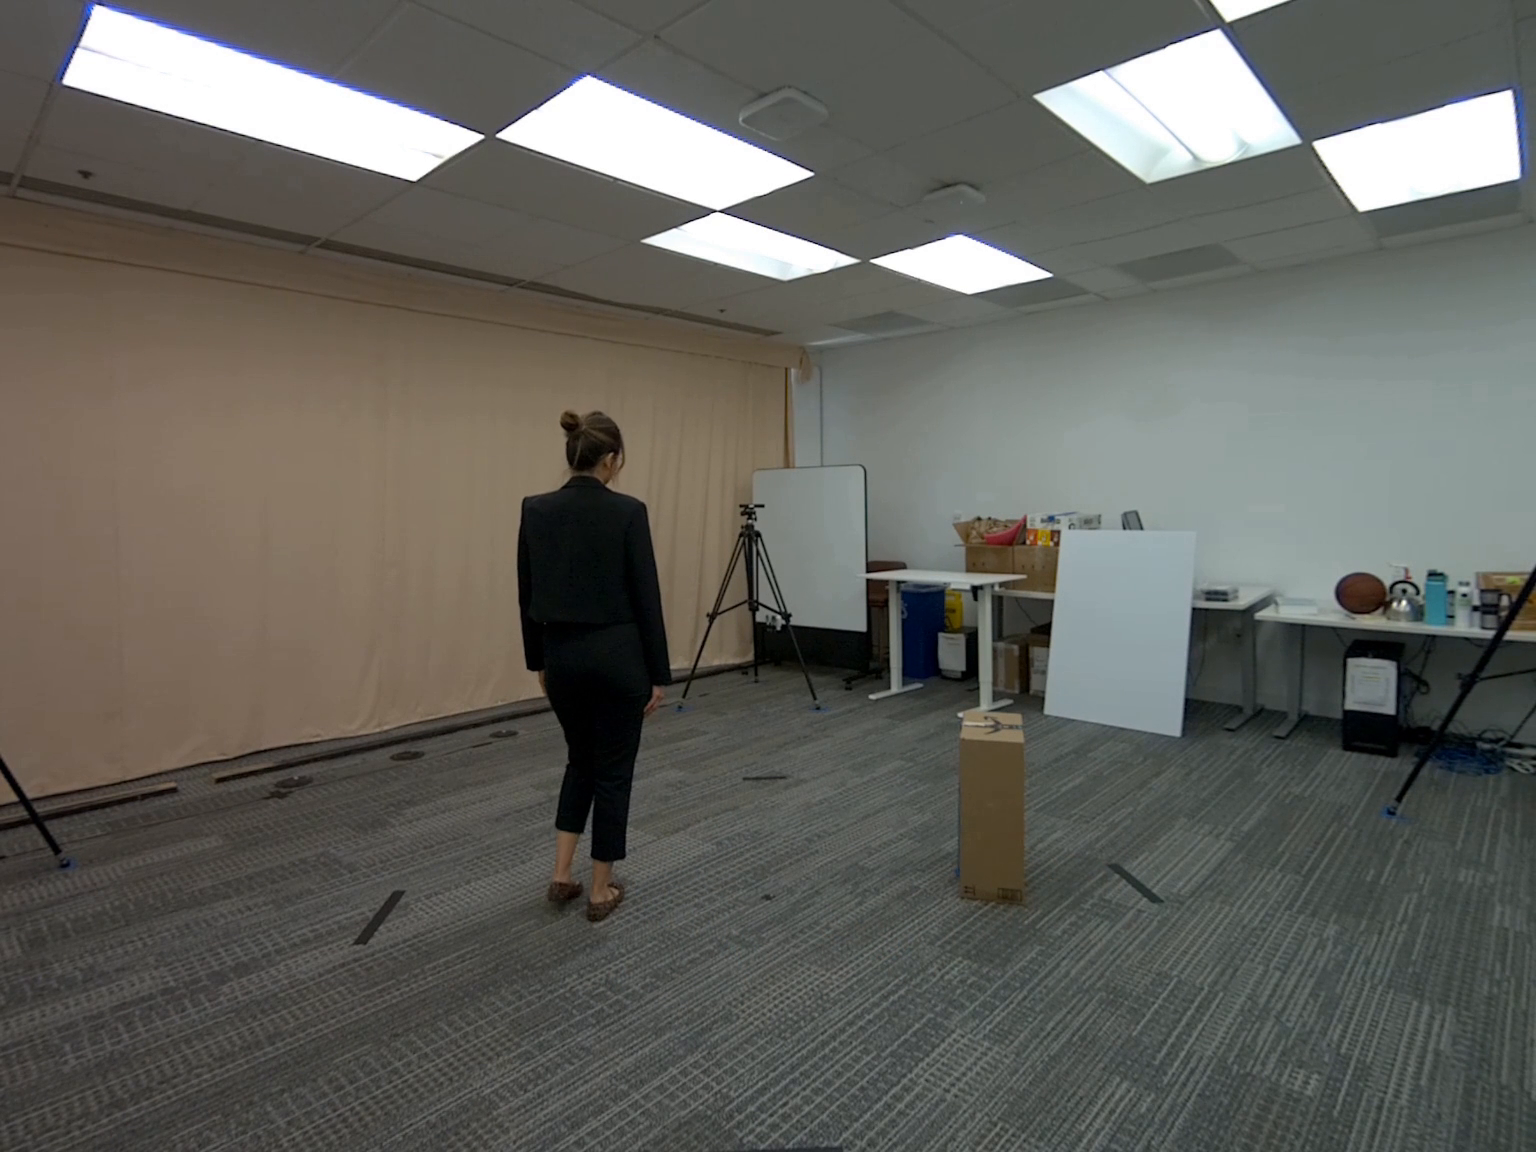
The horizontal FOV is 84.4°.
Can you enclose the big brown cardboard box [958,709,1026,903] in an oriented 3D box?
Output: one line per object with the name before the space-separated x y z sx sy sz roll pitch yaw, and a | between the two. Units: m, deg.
big brown cardboard box | 0.829 0.836 3.105 0.237 0.588 0.411 1 2 15
